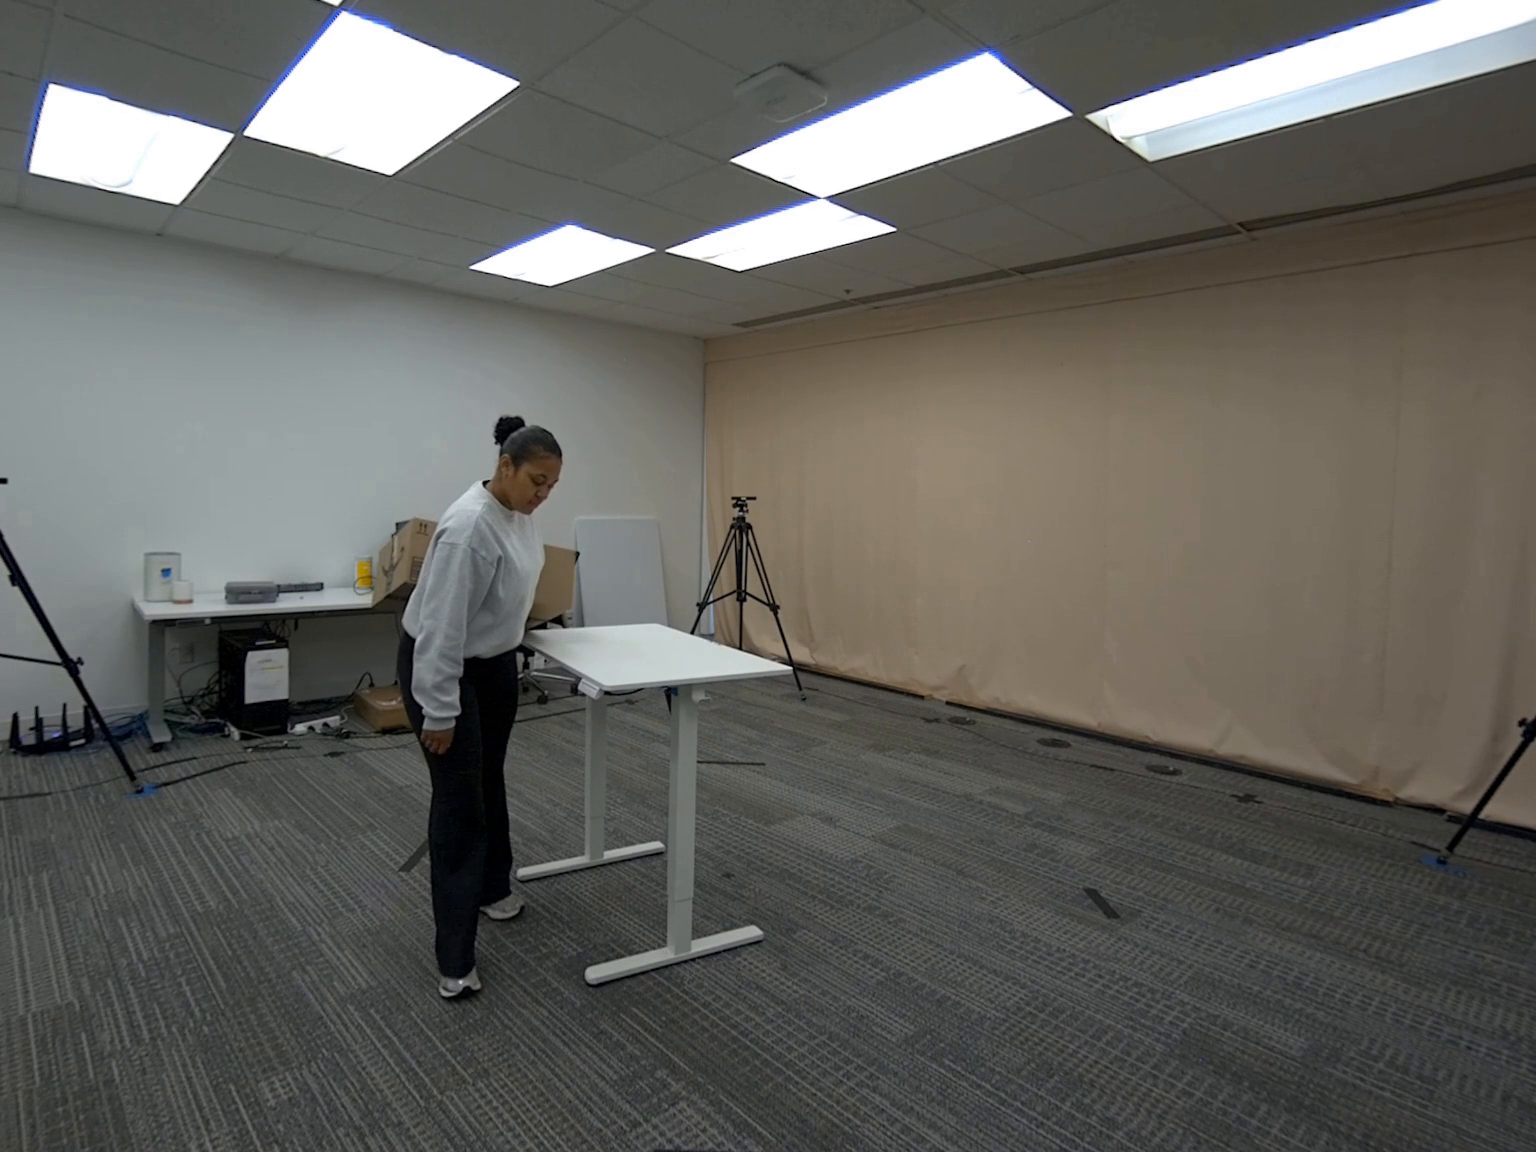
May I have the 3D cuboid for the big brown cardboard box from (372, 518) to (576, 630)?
[{"bbox_3d":[-1.024,0.017,2.936,0.574,0.236,0.423,12,-20,-35],"label":"big brown cardboard box"}]
